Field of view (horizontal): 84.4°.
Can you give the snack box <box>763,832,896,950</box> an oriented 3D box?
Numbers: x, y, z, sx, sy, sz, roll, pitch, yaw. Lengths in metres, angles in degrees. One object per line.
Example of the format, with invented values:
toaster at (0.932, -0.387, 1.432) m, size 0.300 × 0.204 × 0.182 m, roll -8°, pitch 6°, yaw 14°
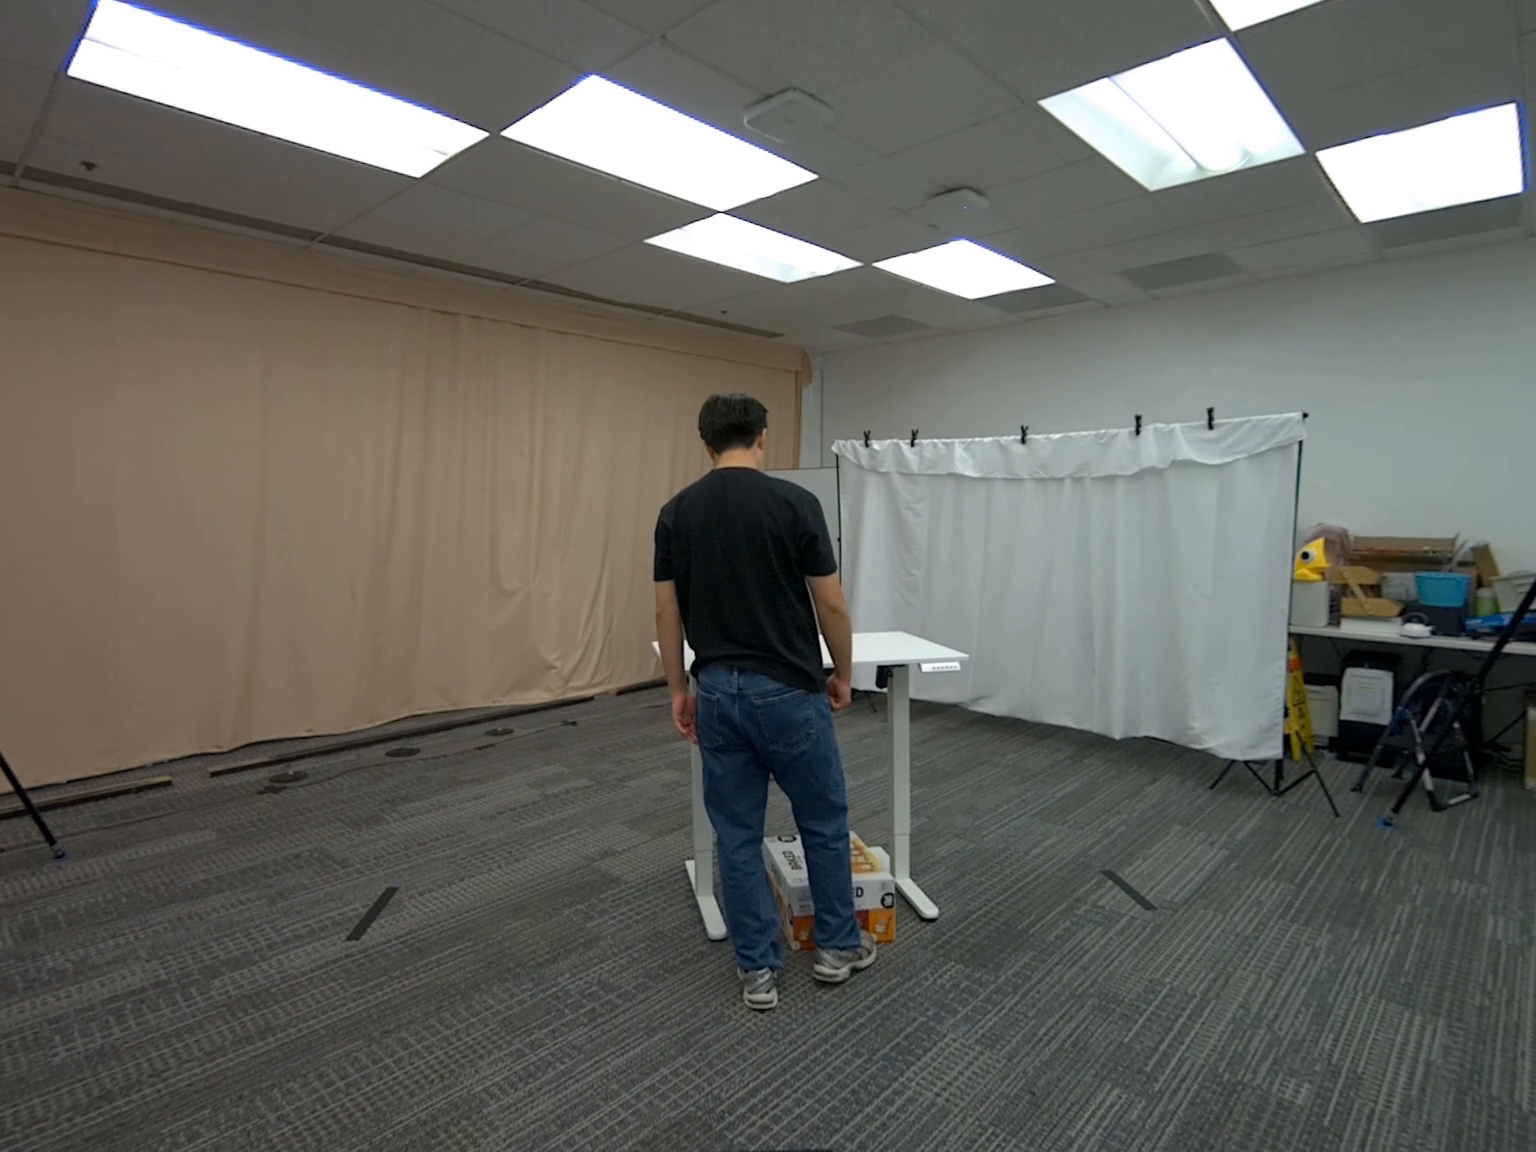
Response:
snack box at (0.198, 1.053, 2.848) m, size 0.336 × 0.205 × 0.411 m, roll -1°, pitch 4°, yaw -12°
